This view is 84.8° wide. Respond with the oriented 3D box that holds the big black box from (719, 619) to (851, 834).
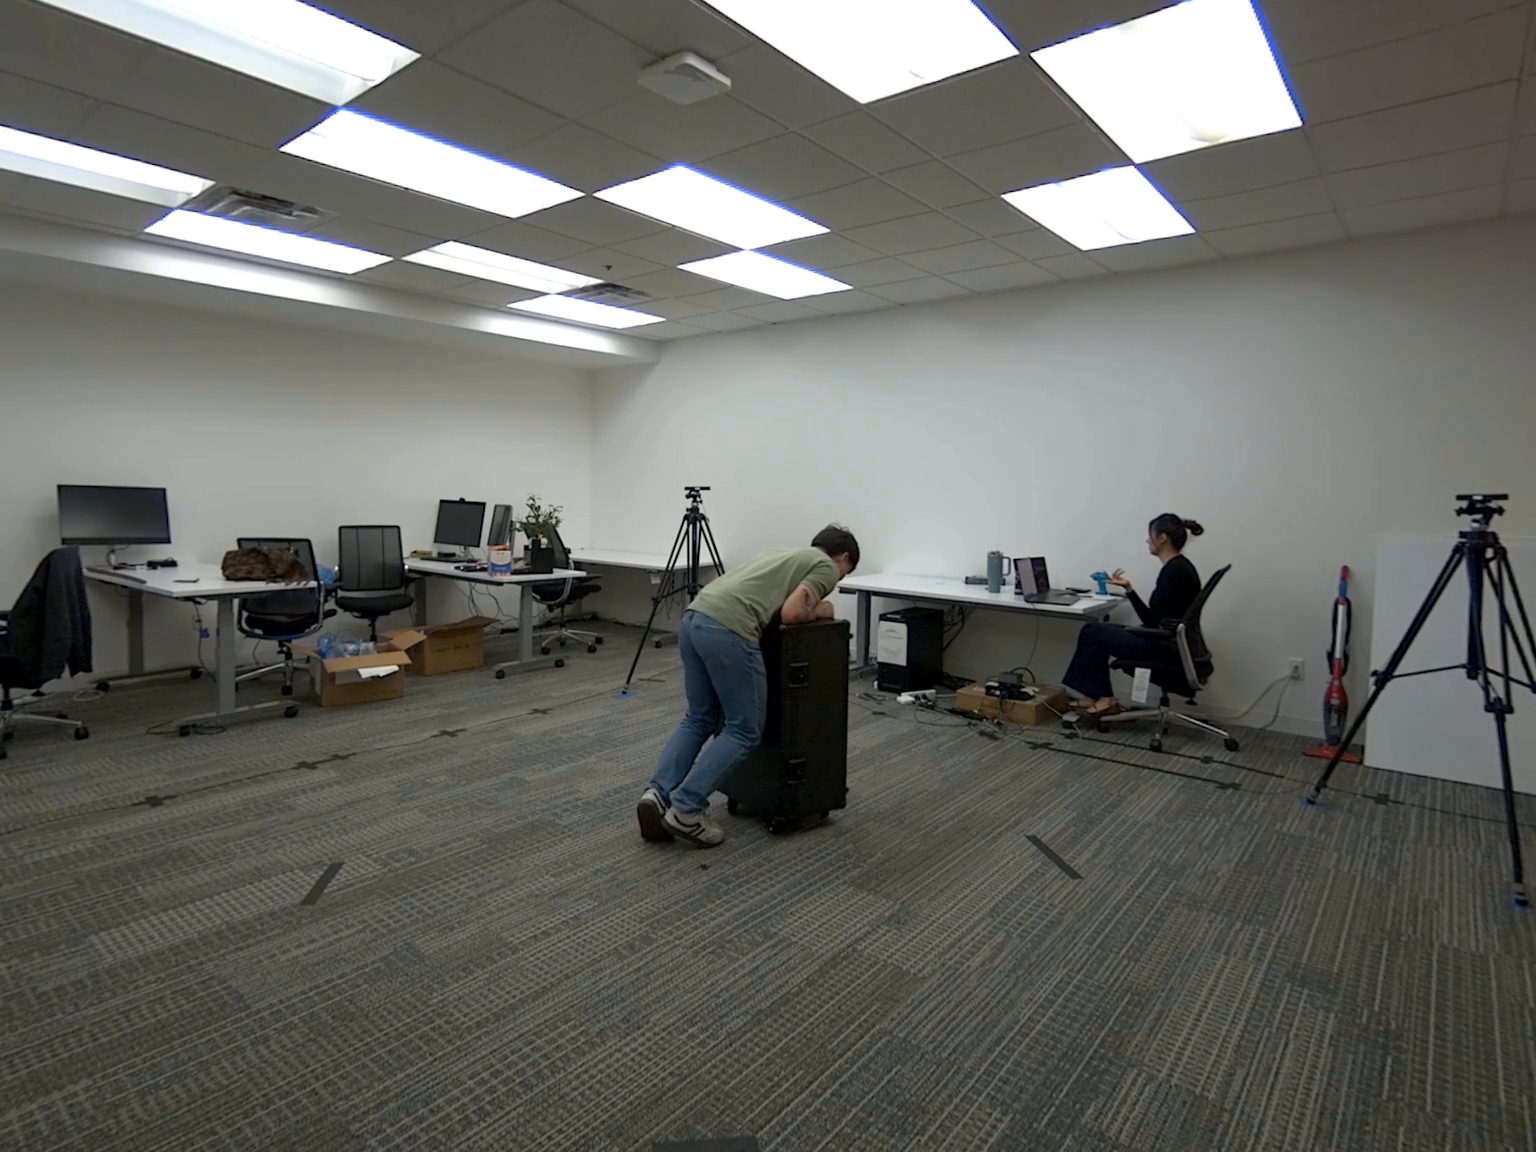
[{"bbox_3d":[0.052,0.596,3.637,0.385,0.860,0.538,0,3,-35],"label":"big black box"}]
